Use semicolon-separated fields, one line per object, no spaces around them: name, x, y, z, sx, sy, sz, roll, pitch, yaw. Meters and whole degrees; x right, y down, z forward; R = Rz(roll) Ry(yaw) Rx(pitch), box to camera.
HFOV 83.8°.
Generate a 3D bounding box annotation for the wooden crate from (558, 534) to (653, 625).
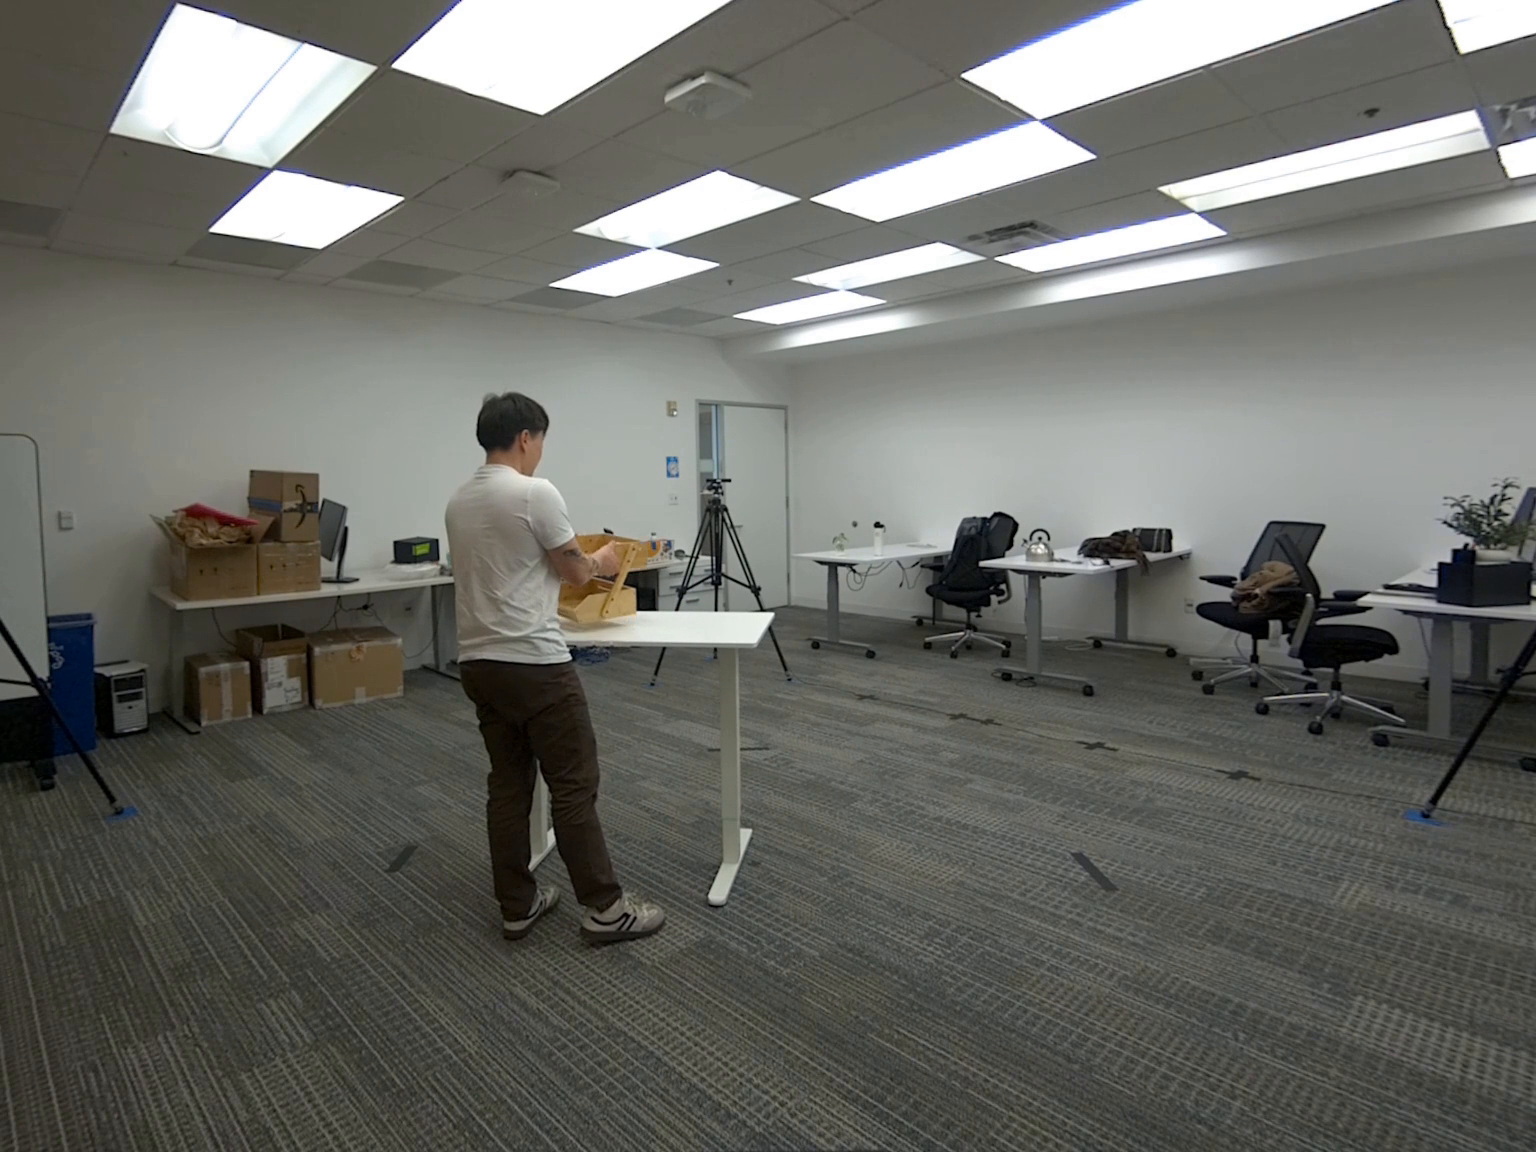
wooden crate;-0.645;-0.006;3.104;0.294;0.271;0.335;-7;11;-39
